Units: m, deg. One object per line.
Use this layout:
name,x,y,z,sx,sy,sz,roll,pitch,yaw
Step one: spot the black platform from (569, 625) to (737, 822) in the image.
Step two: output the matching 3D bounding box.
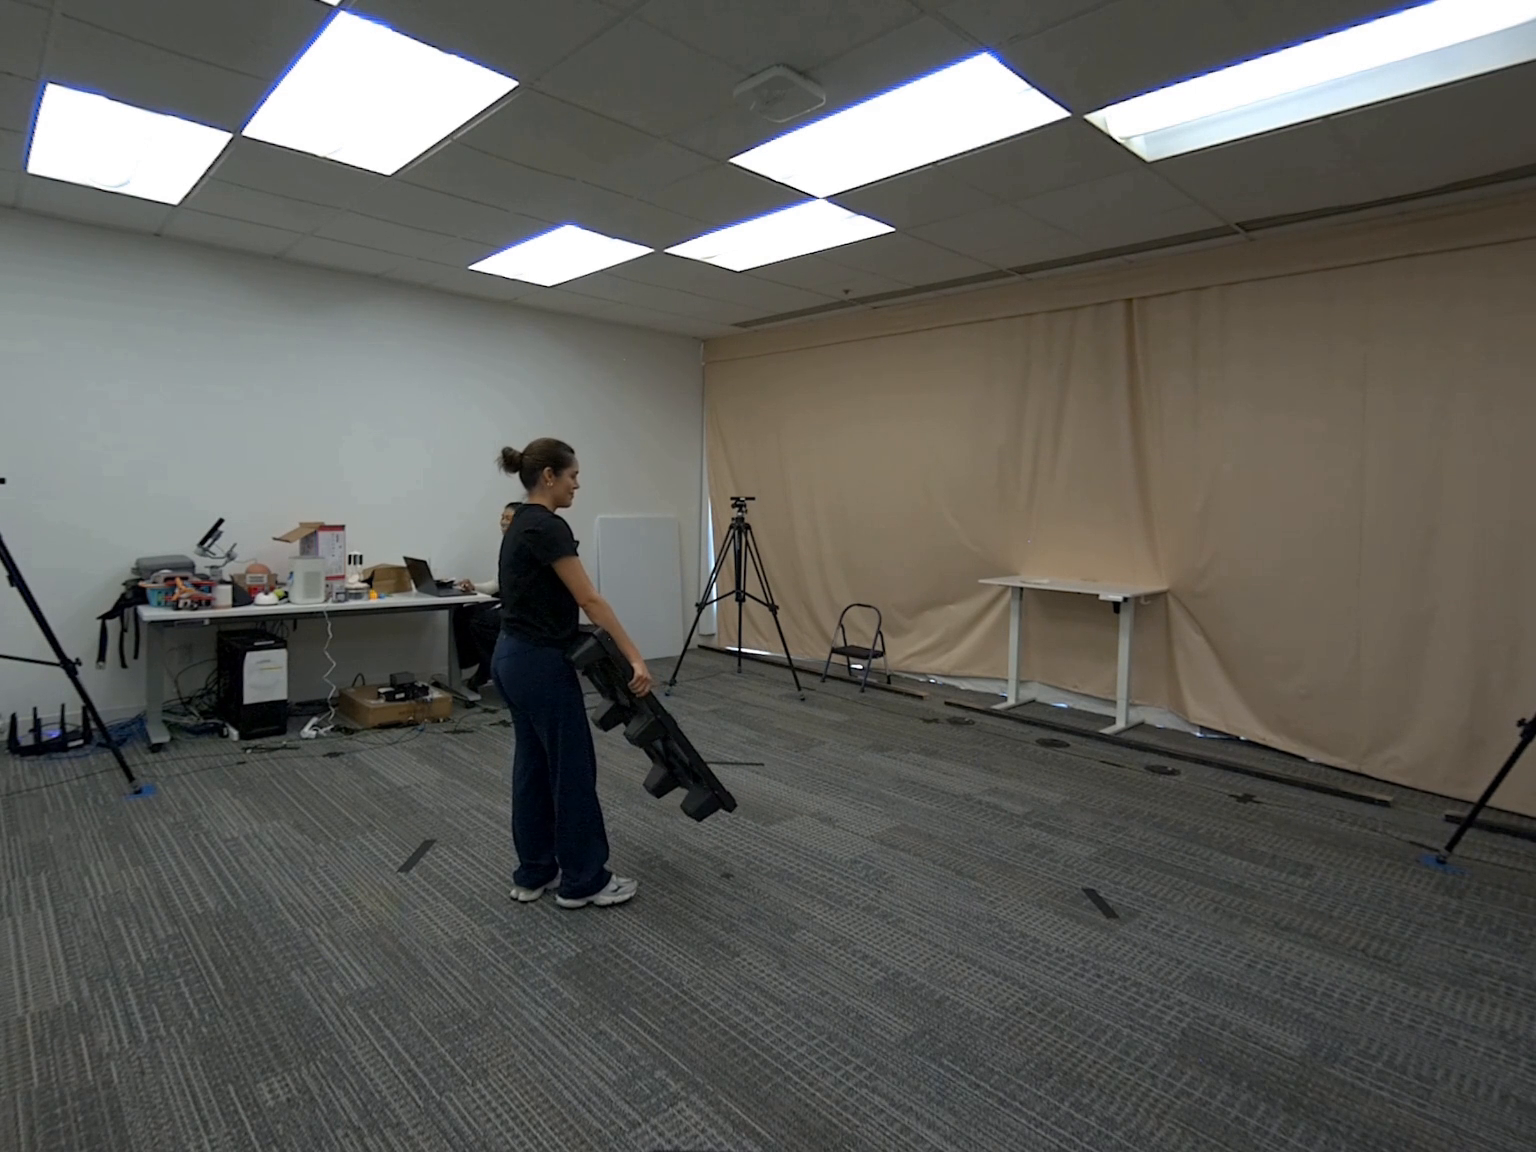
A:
black platform,-0.503,0.519,3.009,0.143,0.794,0.616,-40,15,-25
